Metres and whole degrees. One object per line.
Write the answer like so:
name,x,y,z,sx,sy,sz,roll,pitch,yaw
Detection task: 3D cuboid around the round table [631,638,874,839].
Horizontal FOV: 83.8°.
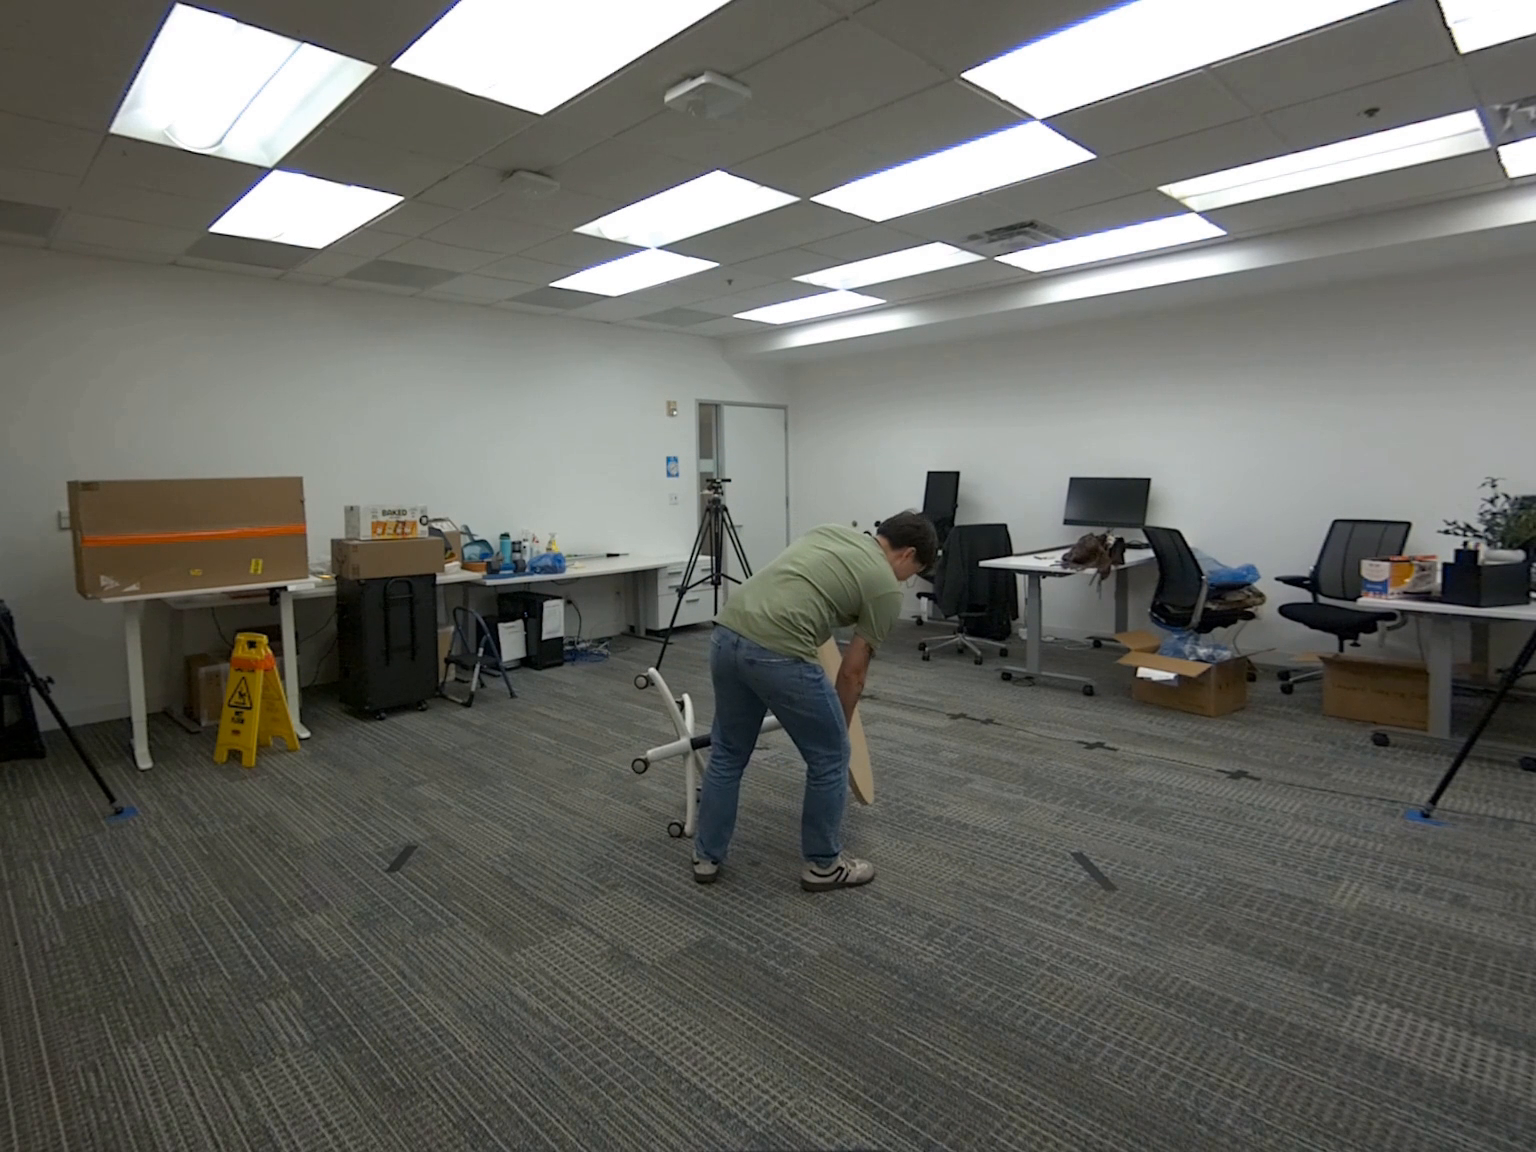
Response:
round table,-0.071,0.626,3.442,0.800,0.764,0.759,-18,1,11
